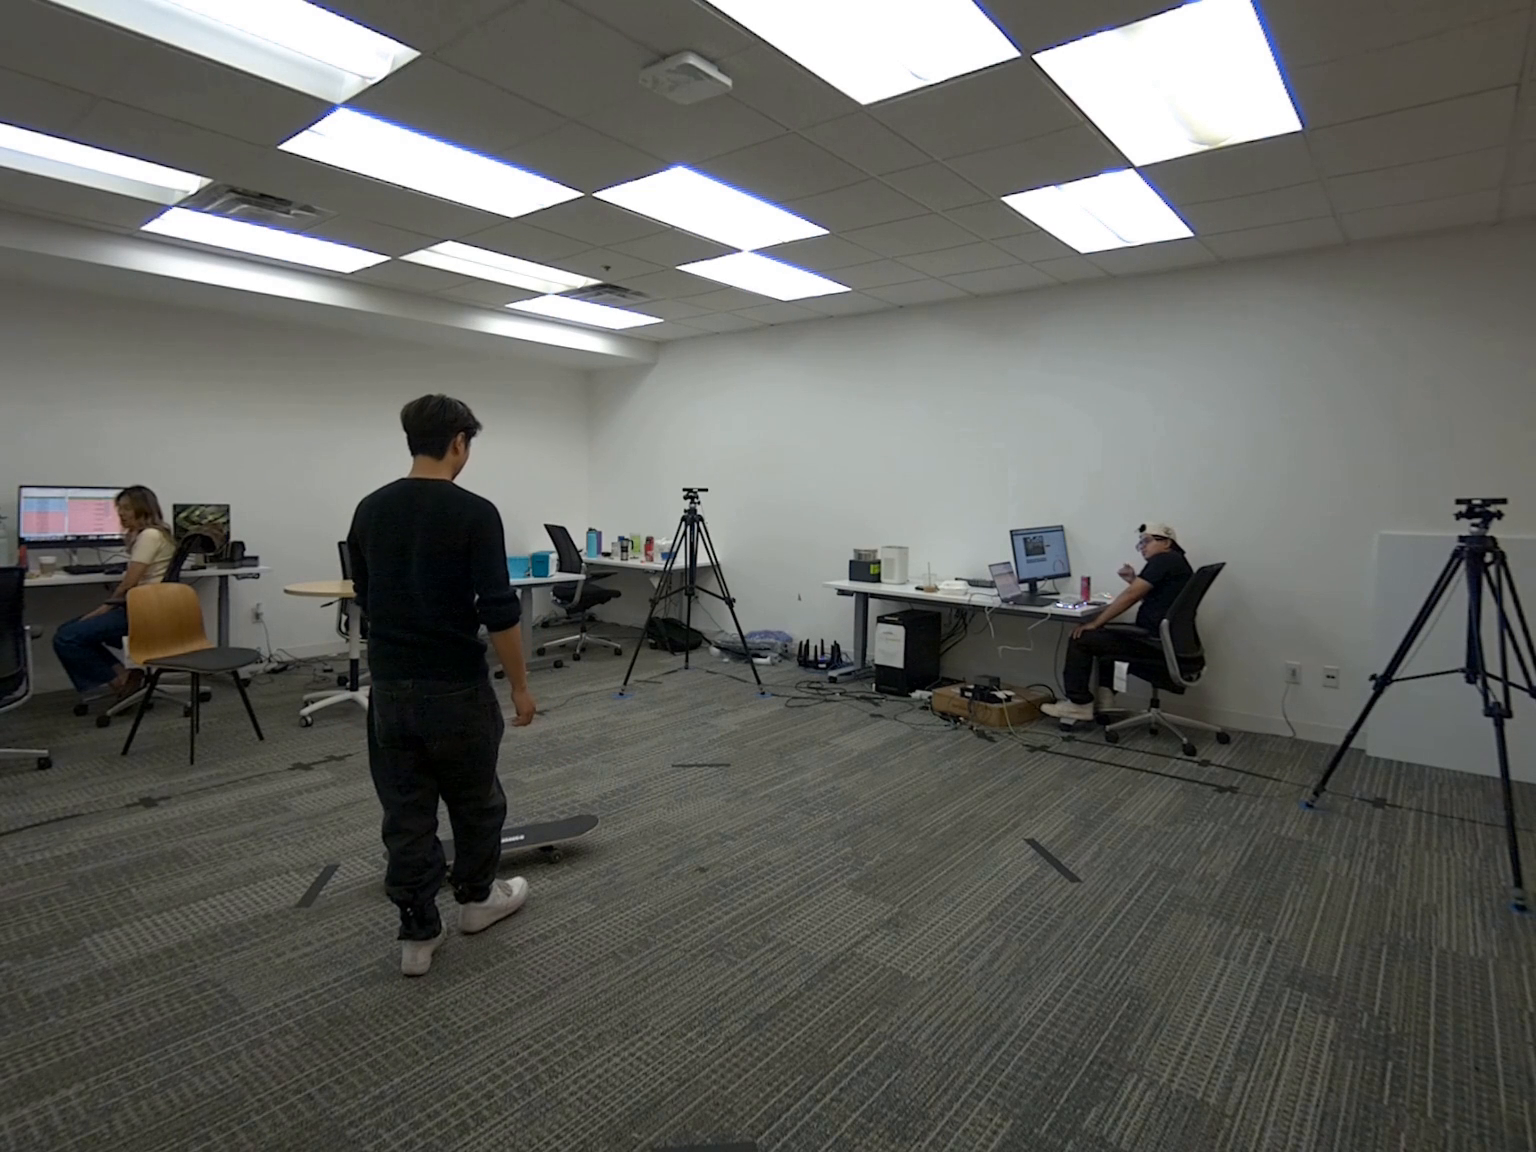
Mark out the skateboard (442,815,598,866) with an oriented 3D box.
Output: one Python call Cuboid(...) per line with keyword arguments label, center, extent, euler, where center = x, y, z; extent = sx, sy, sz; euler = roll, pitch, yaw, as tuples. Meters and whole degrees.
Cuboid(label="skateboard", center=(-0.998, 1.000, 3.114), extent=(0.765, 0.110, 0.199), euler=(-3, 6, -29))
